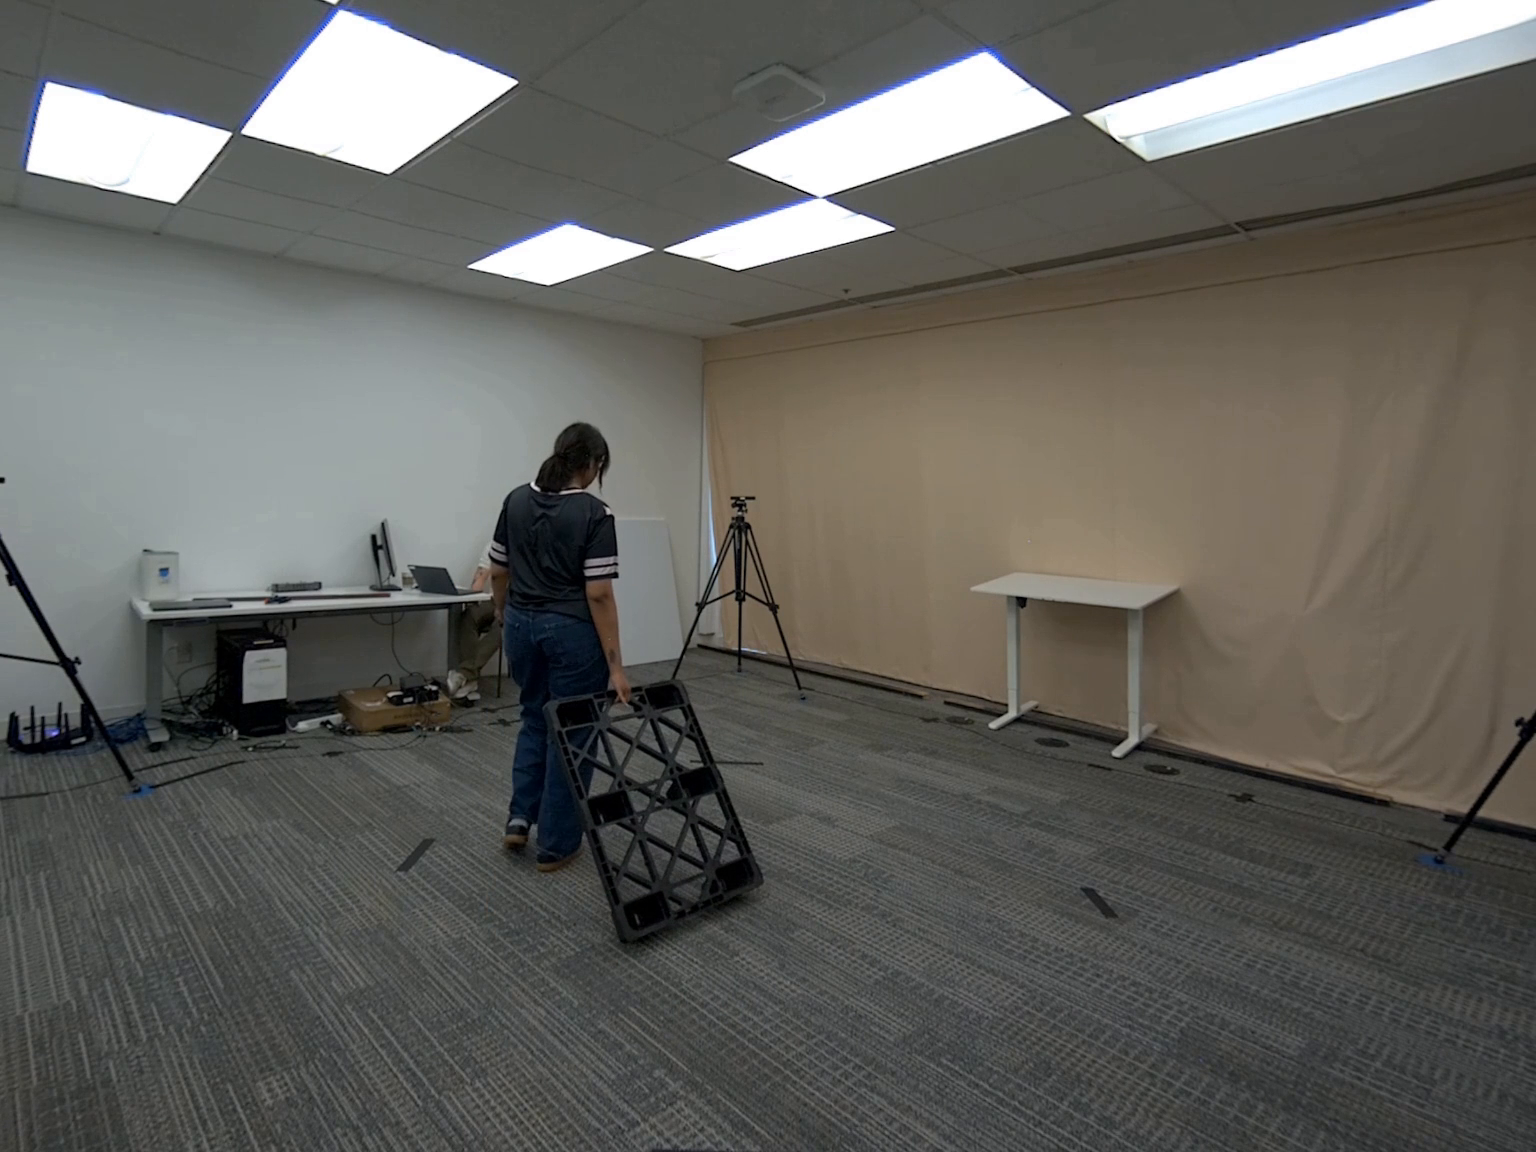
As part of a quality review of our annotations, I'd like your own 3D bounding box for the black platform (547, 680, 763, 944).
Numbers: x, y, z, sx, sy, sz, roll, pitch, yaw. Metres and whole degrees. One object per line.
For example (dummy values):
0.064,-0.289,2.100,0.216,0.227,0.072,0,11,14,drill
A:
-0.424,0.781,2.912,0.591,0.822,0.143,-3,-31,-44,black platform
